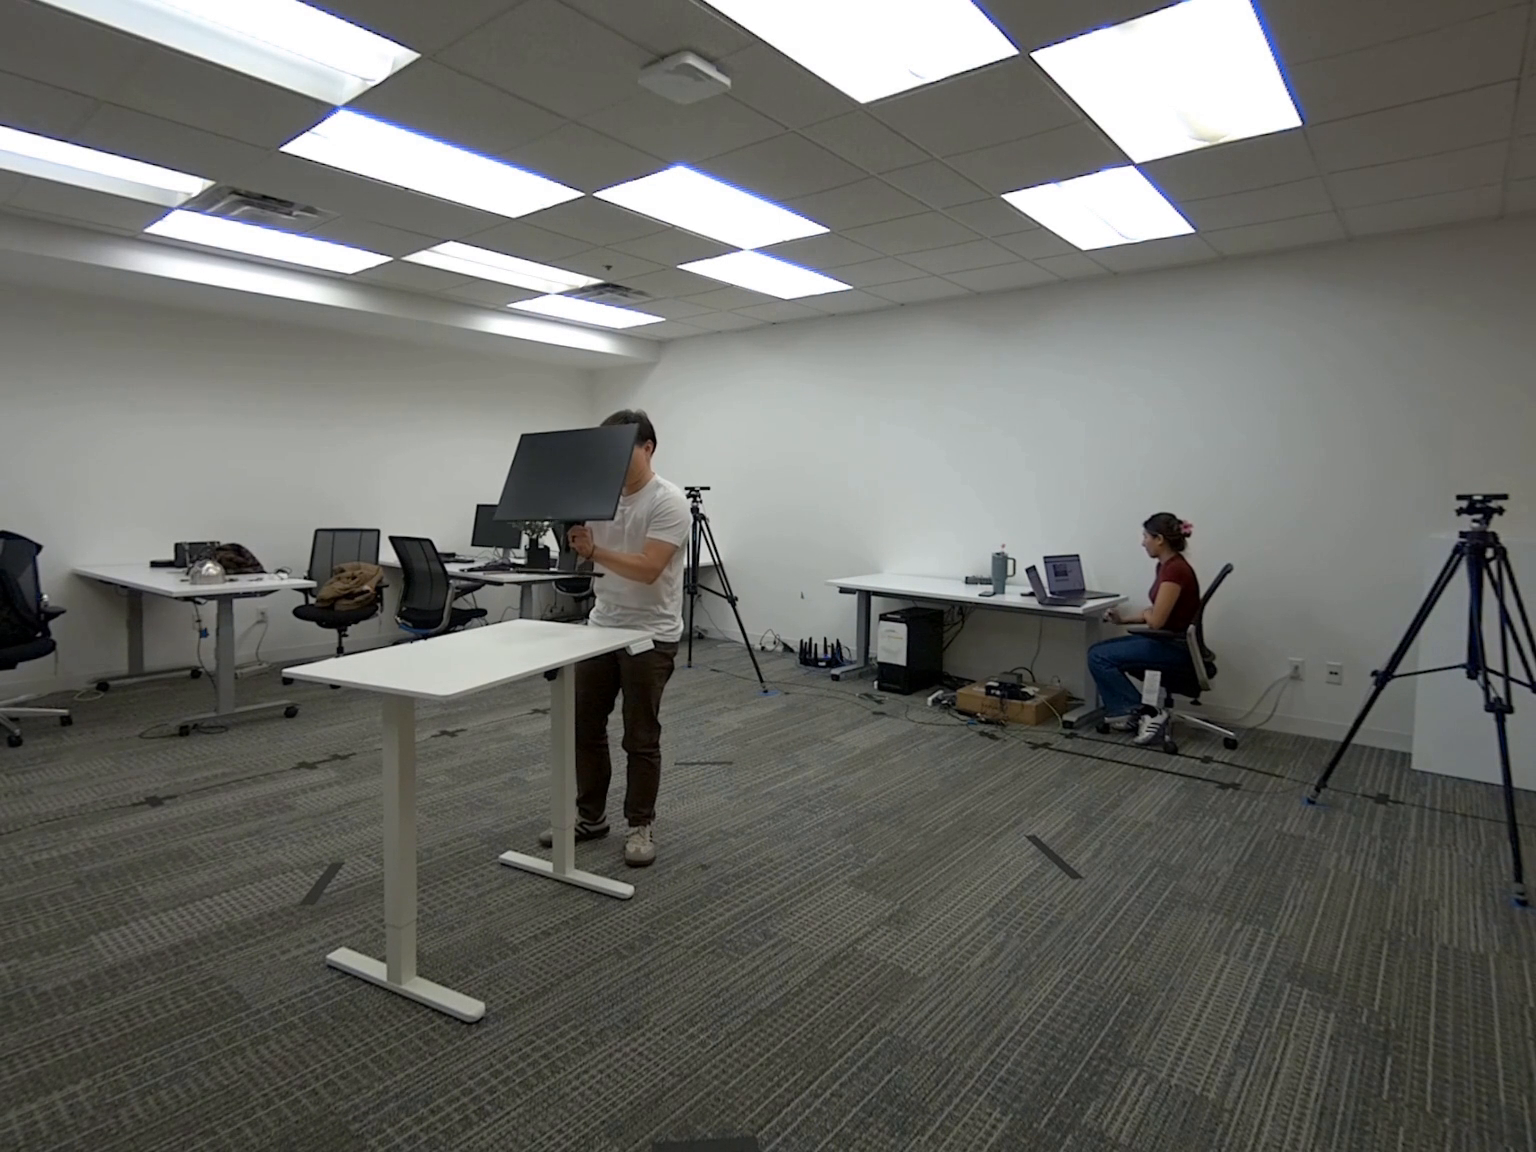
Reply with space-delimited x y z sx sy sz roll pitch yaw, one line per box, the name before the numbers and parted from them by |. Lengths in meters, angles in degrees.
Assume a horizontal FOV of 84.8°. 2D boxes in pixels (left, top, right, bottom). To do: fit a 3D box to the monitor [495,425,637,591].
monitor | -0.703 -0.256 2.935 0.554 0.526 0.180 1 -9 29
